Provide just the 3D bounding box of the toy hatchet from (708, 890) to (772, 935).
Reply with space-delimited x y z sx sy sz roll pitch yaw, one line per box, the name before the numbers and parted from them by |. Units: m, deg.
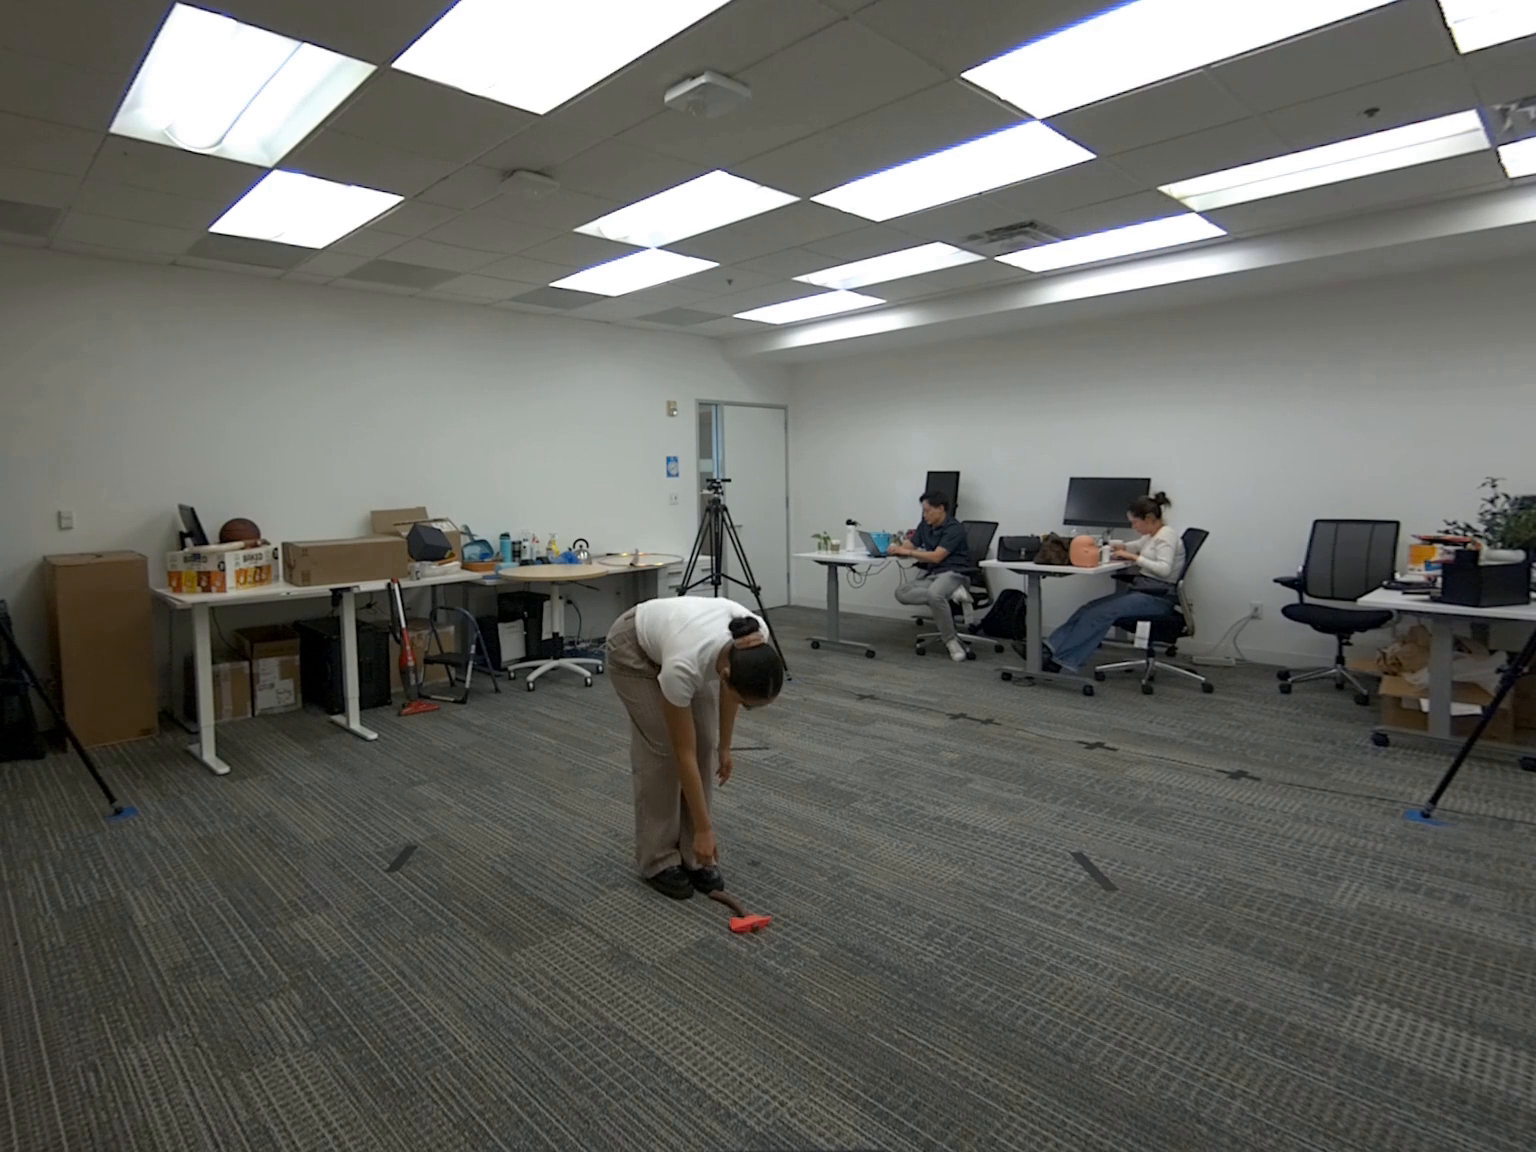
toy hatchet | -0.118 1.077 2.734 0.128 0.029 0.278 -10 9 -42
